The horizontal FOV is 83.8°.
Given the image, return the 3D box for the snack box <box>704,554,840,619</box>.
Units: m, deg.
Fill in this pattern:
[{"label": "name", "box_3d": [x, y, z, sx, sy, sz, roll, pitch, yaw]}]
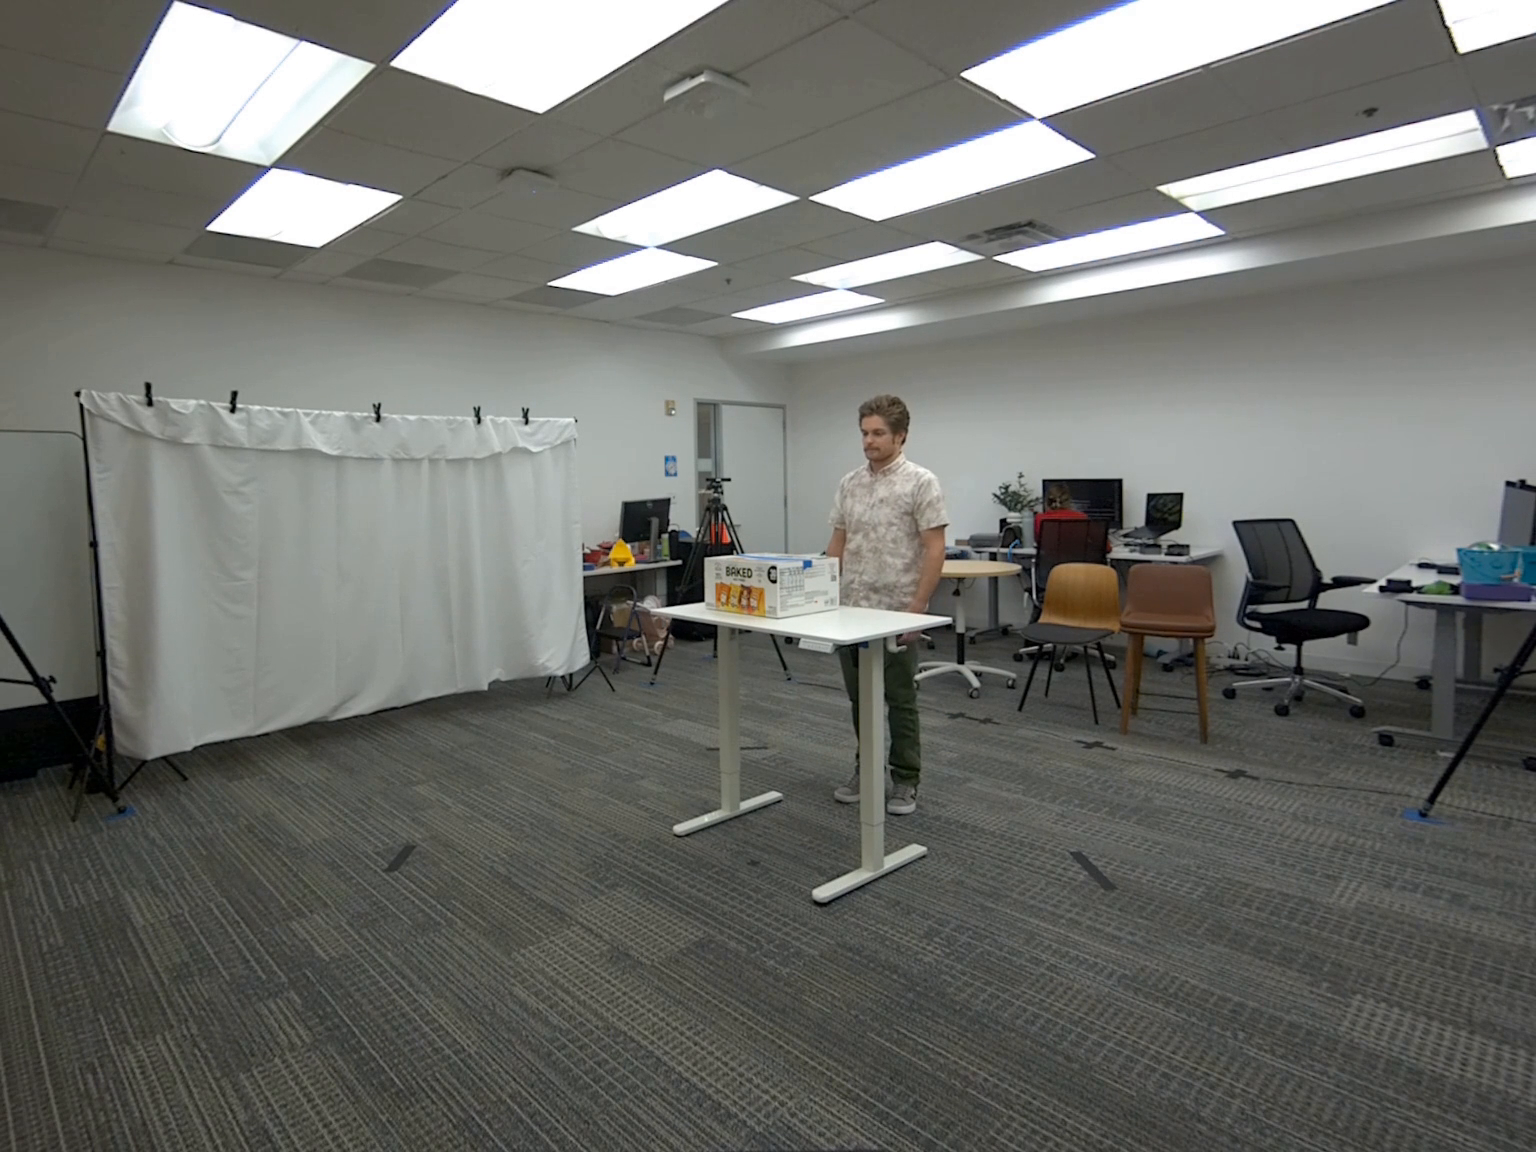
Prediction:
[{"label": "snack box", "box_3d": [0.014, 0.030, 3.342, 0.331, 0.205, 0.418, -6, 8, -43]}]
